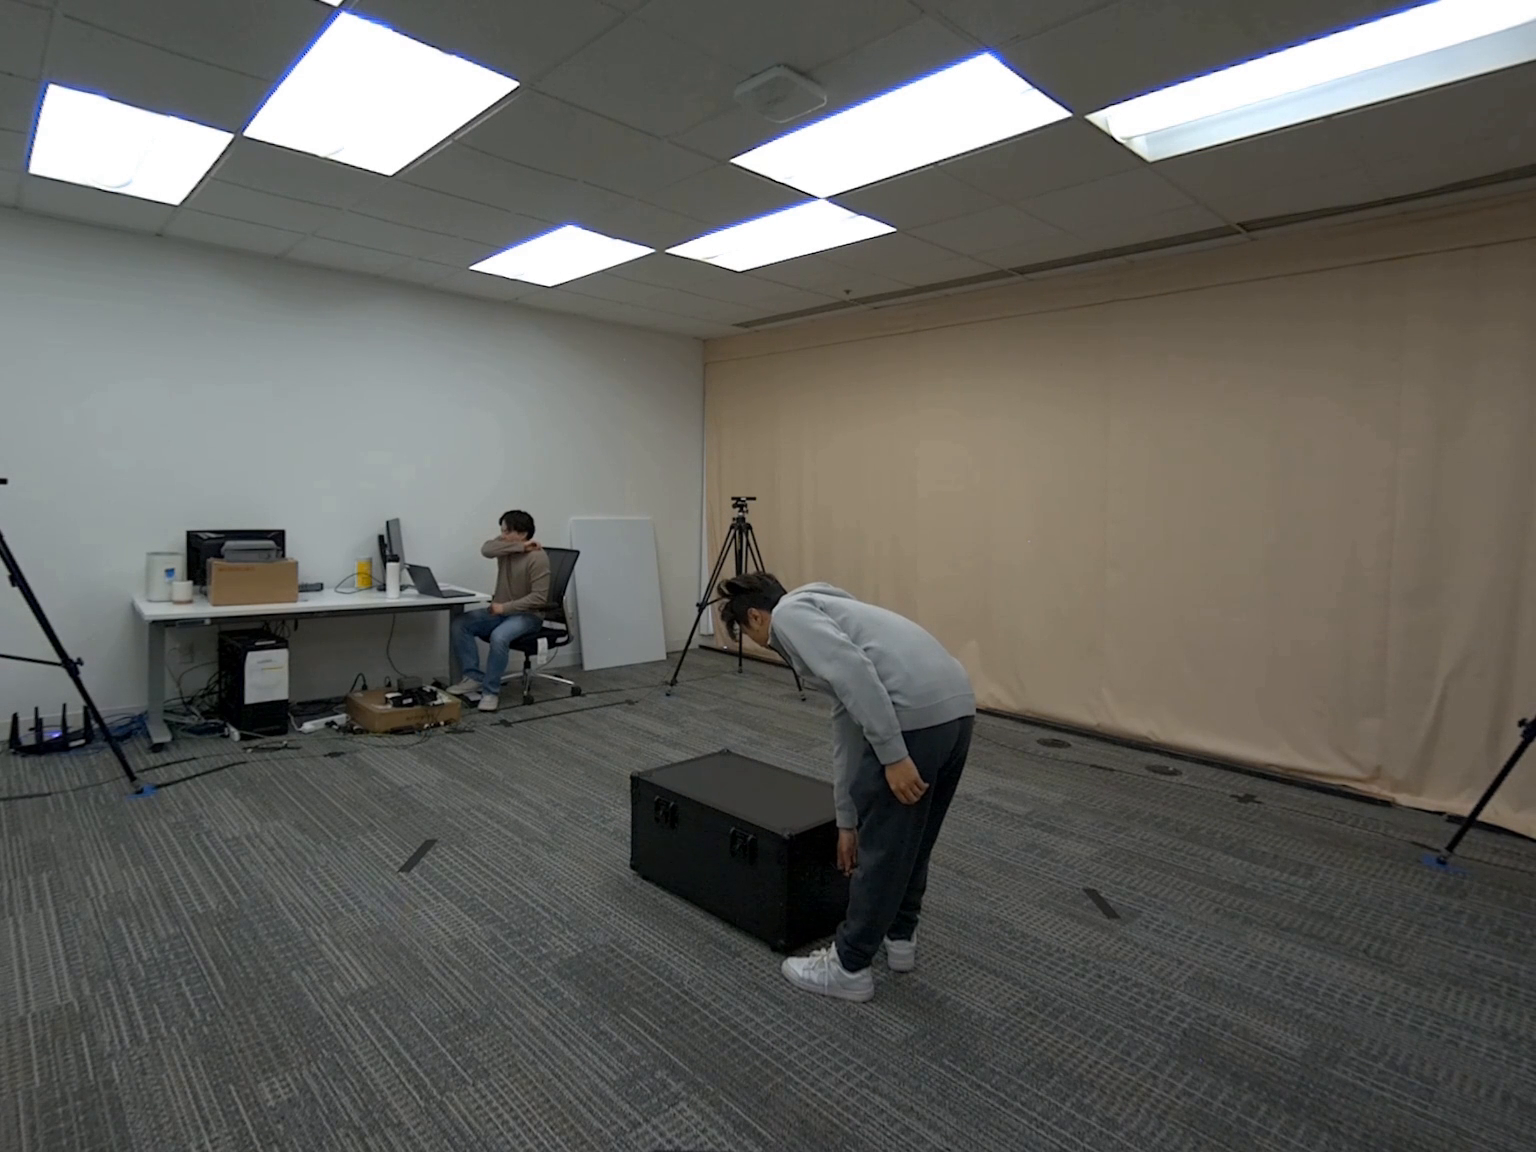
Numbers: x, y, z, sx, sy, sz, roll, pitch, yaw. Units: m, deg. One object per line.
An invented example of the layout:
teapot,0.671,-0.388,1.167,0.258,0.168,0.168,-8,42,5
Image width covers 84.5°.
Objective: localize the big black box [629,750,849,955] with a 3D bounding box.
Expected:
big black box,-0.085,0.926,3.003,0.884,0.395,0.509,7,7,44
